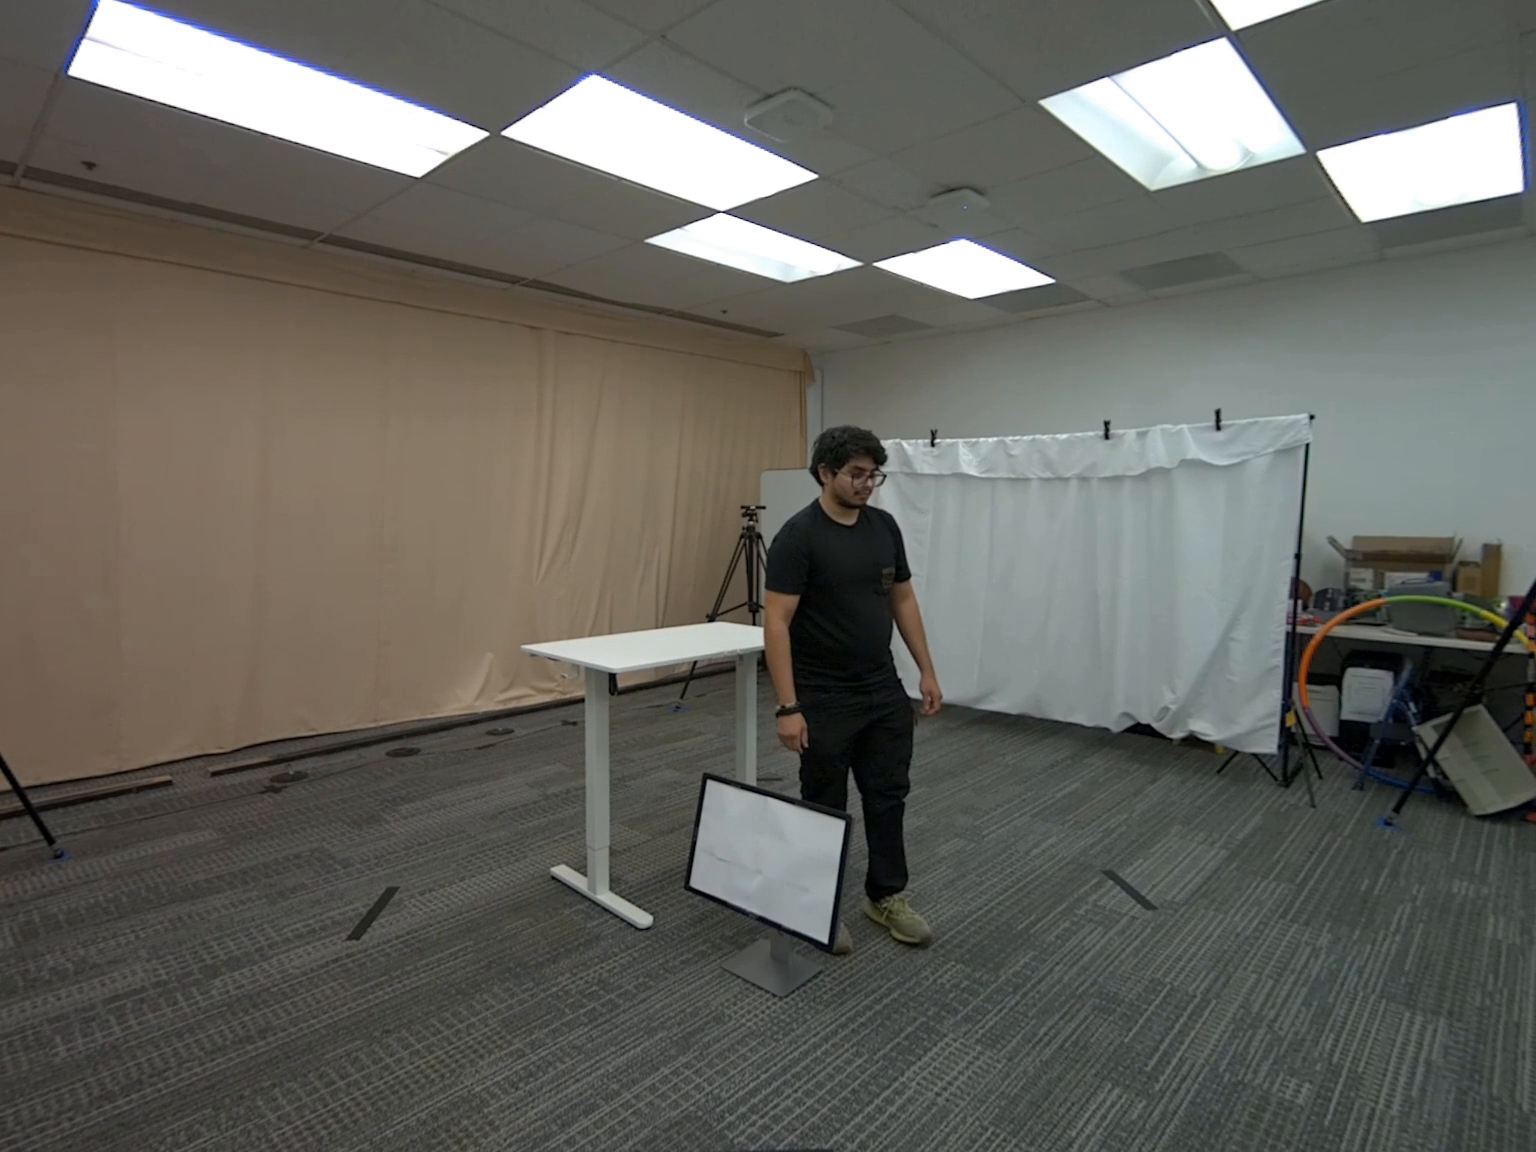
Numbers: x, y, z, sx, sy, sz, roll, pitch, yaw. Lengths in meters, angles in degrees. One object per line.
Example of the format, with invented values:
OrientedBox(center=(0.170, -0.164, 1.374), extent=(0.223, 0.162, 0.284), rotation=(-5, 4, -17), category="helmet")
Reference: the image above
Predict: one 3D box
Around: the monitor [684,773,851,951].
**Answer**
OrientedBox(center=(0.030, 0.912, 2.539), extent=(0.584, 0.554, 0.203), rotation=(3, -1, 41), category="monitor")
